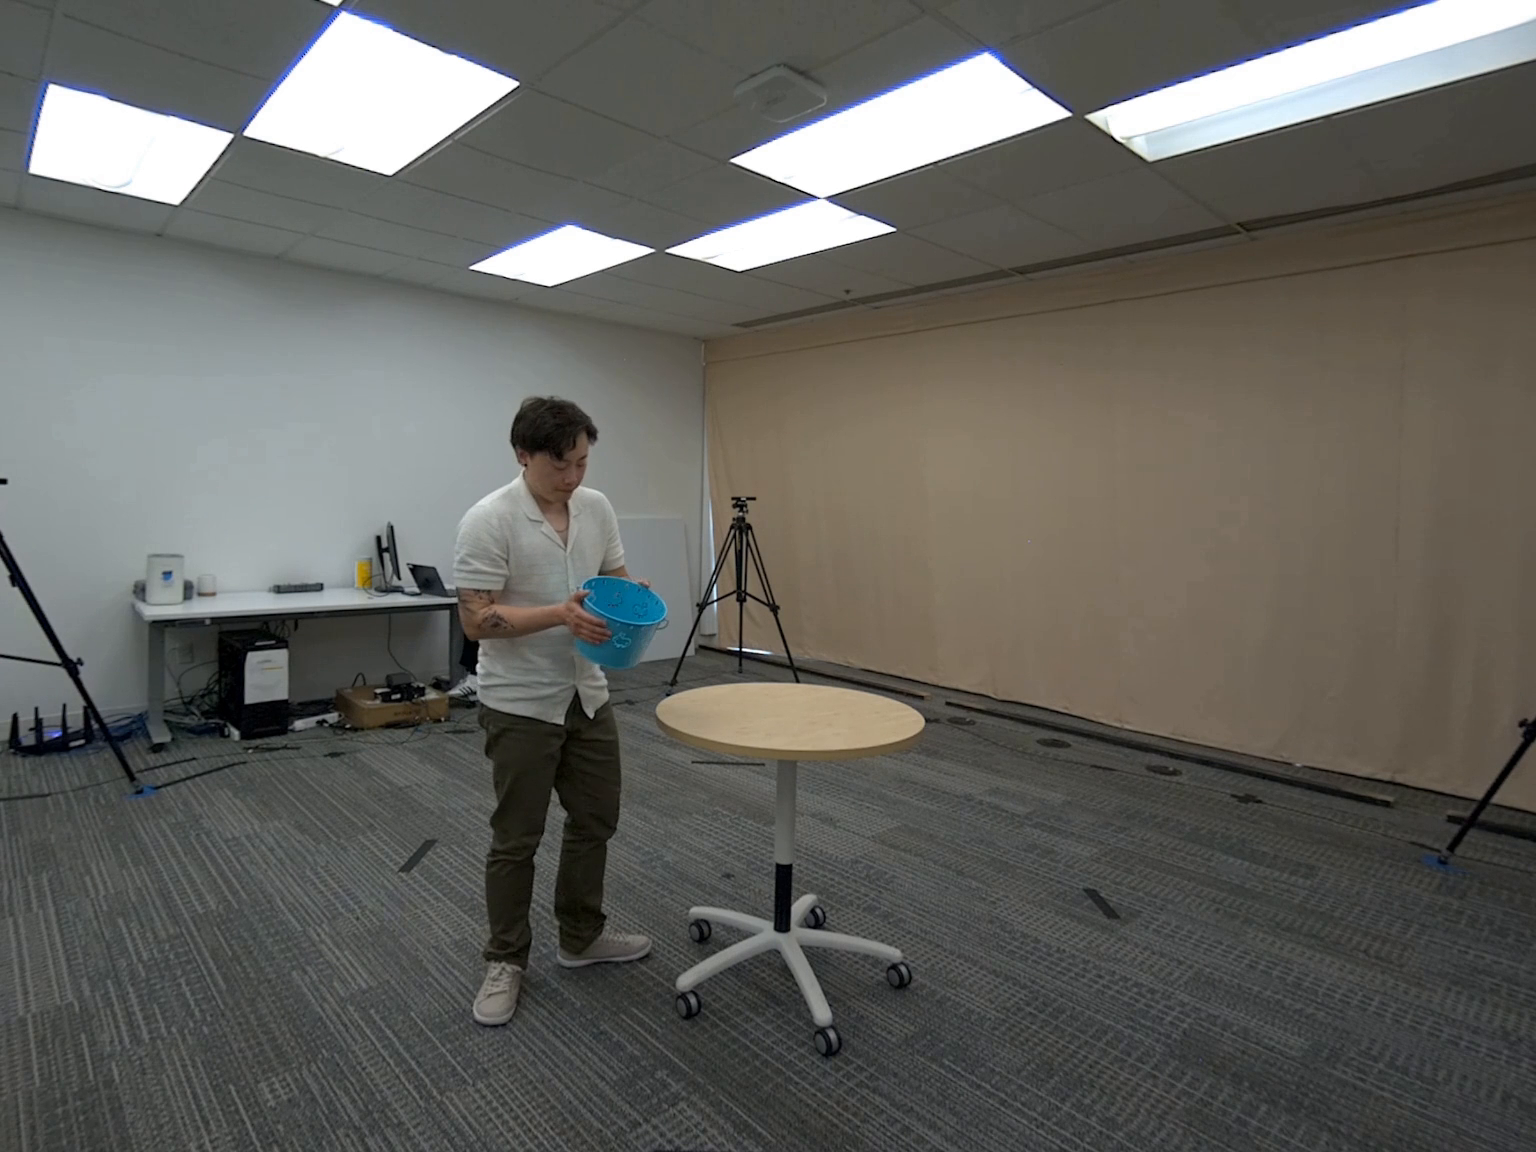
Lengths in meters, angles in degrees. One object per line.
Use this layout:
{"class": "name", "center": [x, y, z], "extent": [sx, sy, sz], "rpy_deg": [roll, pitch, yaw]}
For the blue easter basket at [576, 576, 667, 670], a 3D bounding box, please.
{"class": "blue easter basket", "center": [-0.417, 0.127, 2.158], "extent": [0.242, 0.154, 0.247], "rpy_deg": [17, 21, -8]}
